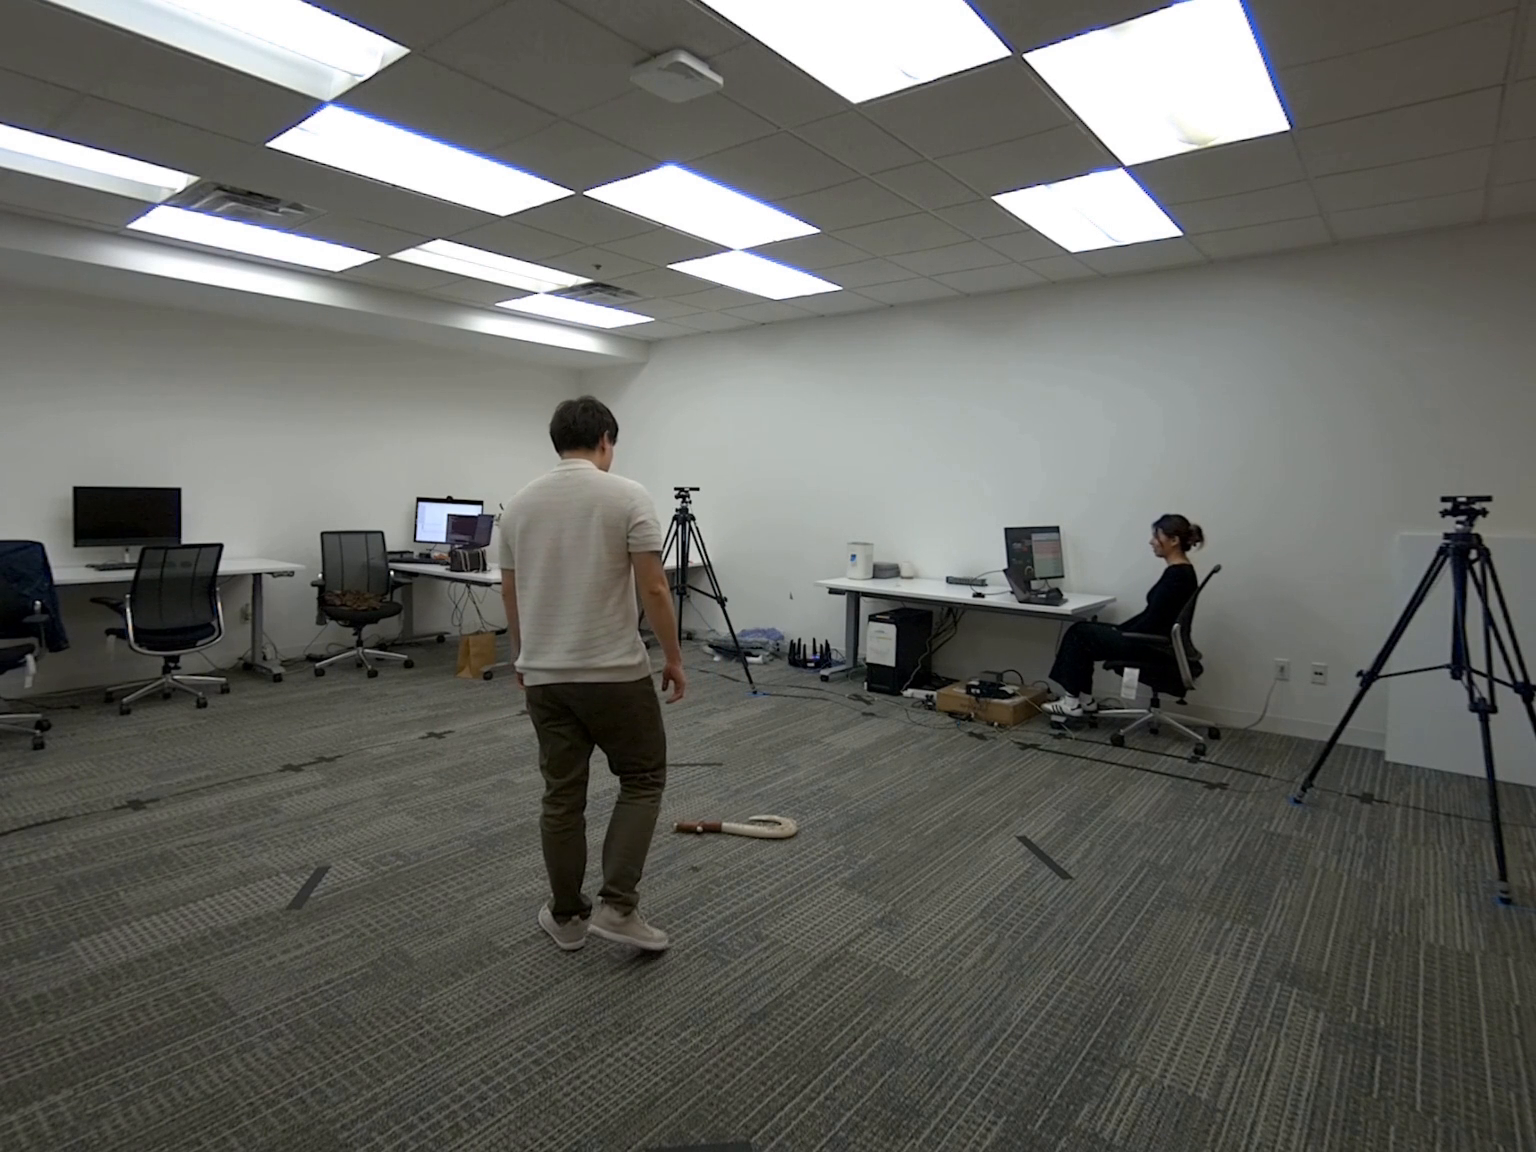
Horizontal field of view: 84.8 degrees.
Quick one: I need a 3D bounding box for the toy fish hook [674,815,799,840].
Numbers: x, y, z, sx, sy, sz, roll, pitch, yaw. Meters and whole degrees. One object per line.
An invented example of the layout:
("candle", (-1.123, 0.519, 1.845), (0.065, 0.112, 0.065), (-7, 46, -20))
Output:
("toy fish hook", (-0.148, 1.011, 3.482), (0.508, 0.048, 0.223), (2, -2, 2))
